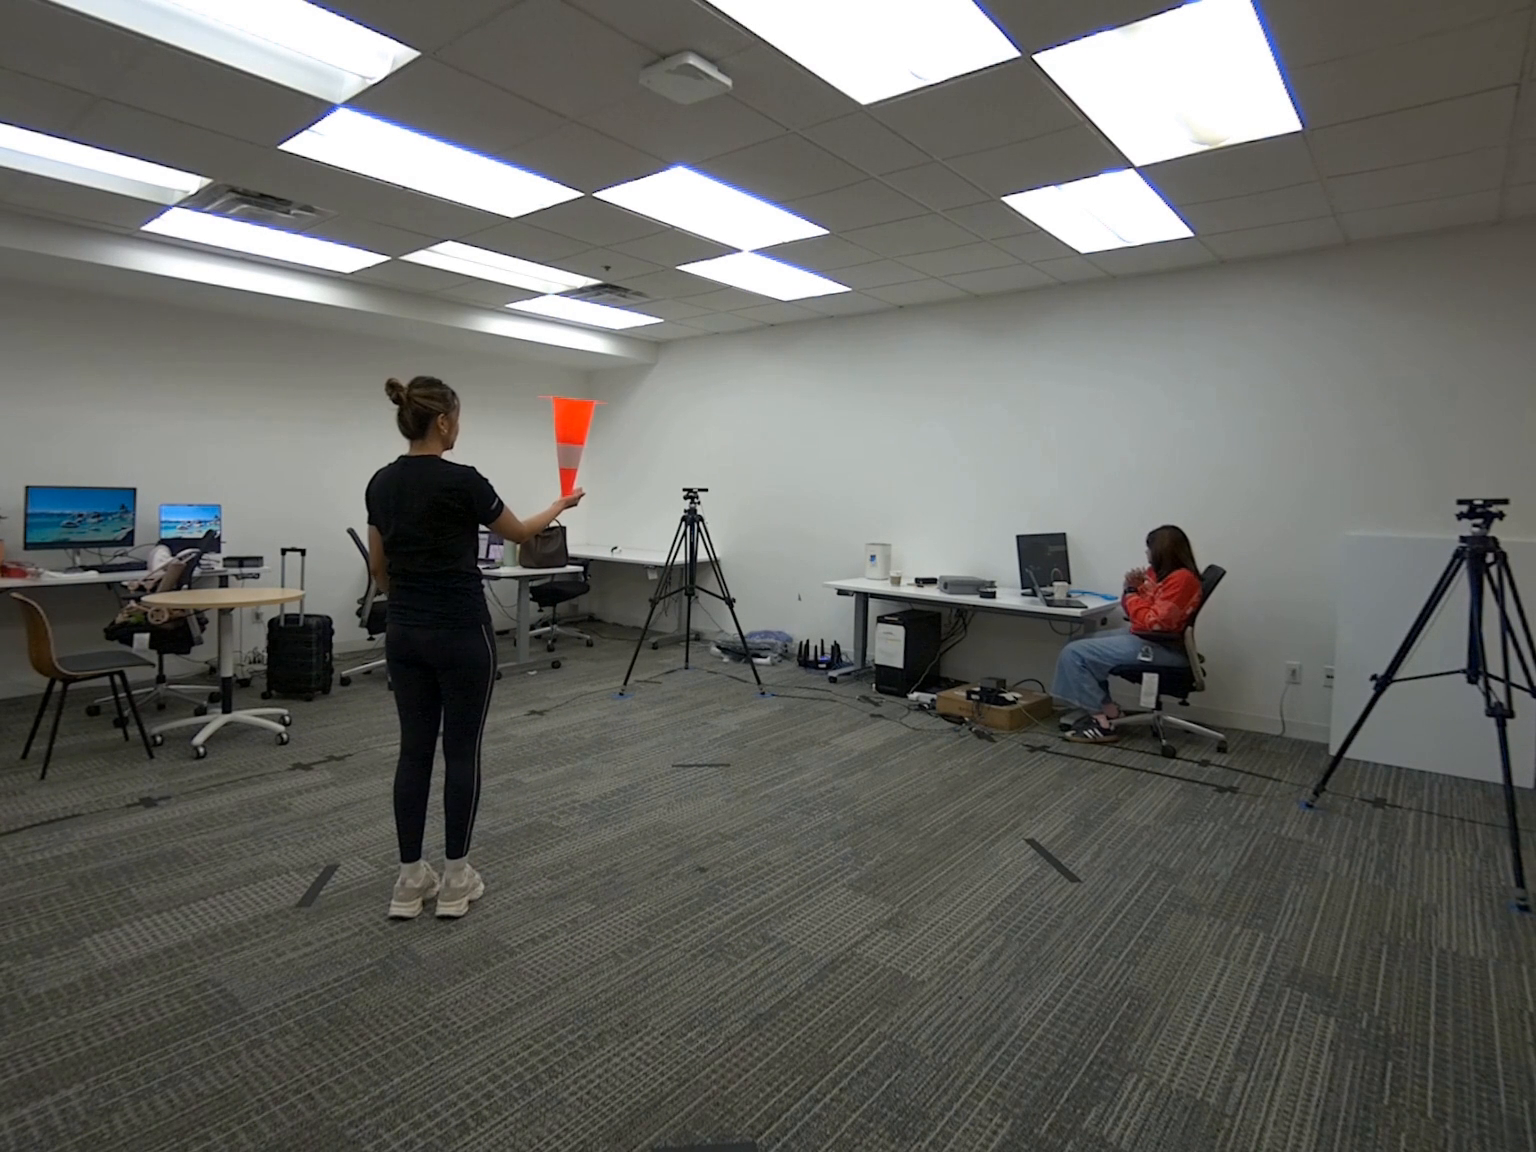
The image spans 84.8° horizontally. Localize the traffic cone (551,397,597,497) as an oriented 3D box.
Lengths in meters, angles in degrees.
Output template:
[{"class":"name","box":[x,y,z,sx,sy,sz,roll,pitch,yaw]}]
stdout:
[{"class":"traffic cone","box":[-0.759,-0.478,3.197,0.210,0.382,0.200,9,7,30]}]
